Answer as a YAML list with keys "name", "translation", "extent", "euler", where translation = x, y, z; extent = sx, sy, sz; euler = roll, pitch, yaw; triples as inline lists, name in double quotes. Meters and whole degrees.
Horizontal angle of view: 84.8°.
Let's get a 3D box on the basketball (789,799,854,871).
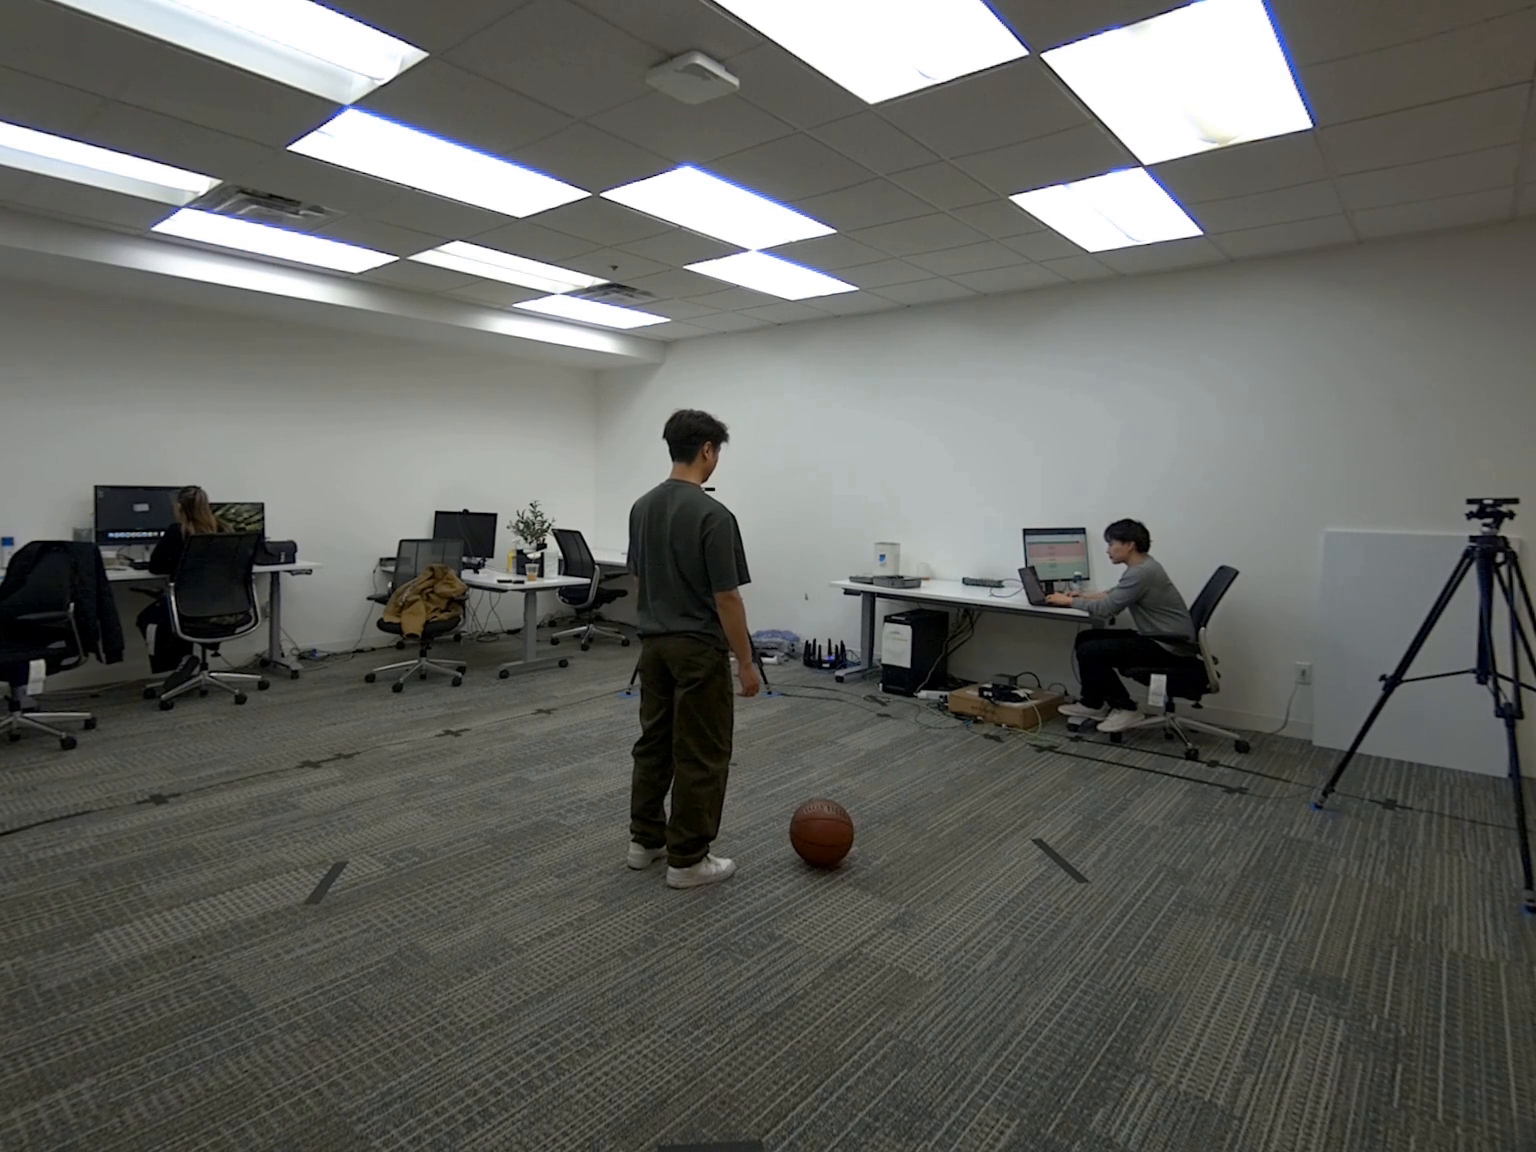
- name: "basketball"
  translation: [0.191, 0.955, 3.172]
  extent: [0.235, 0.235, 0.237]
  euler: [1, 4, -2]
